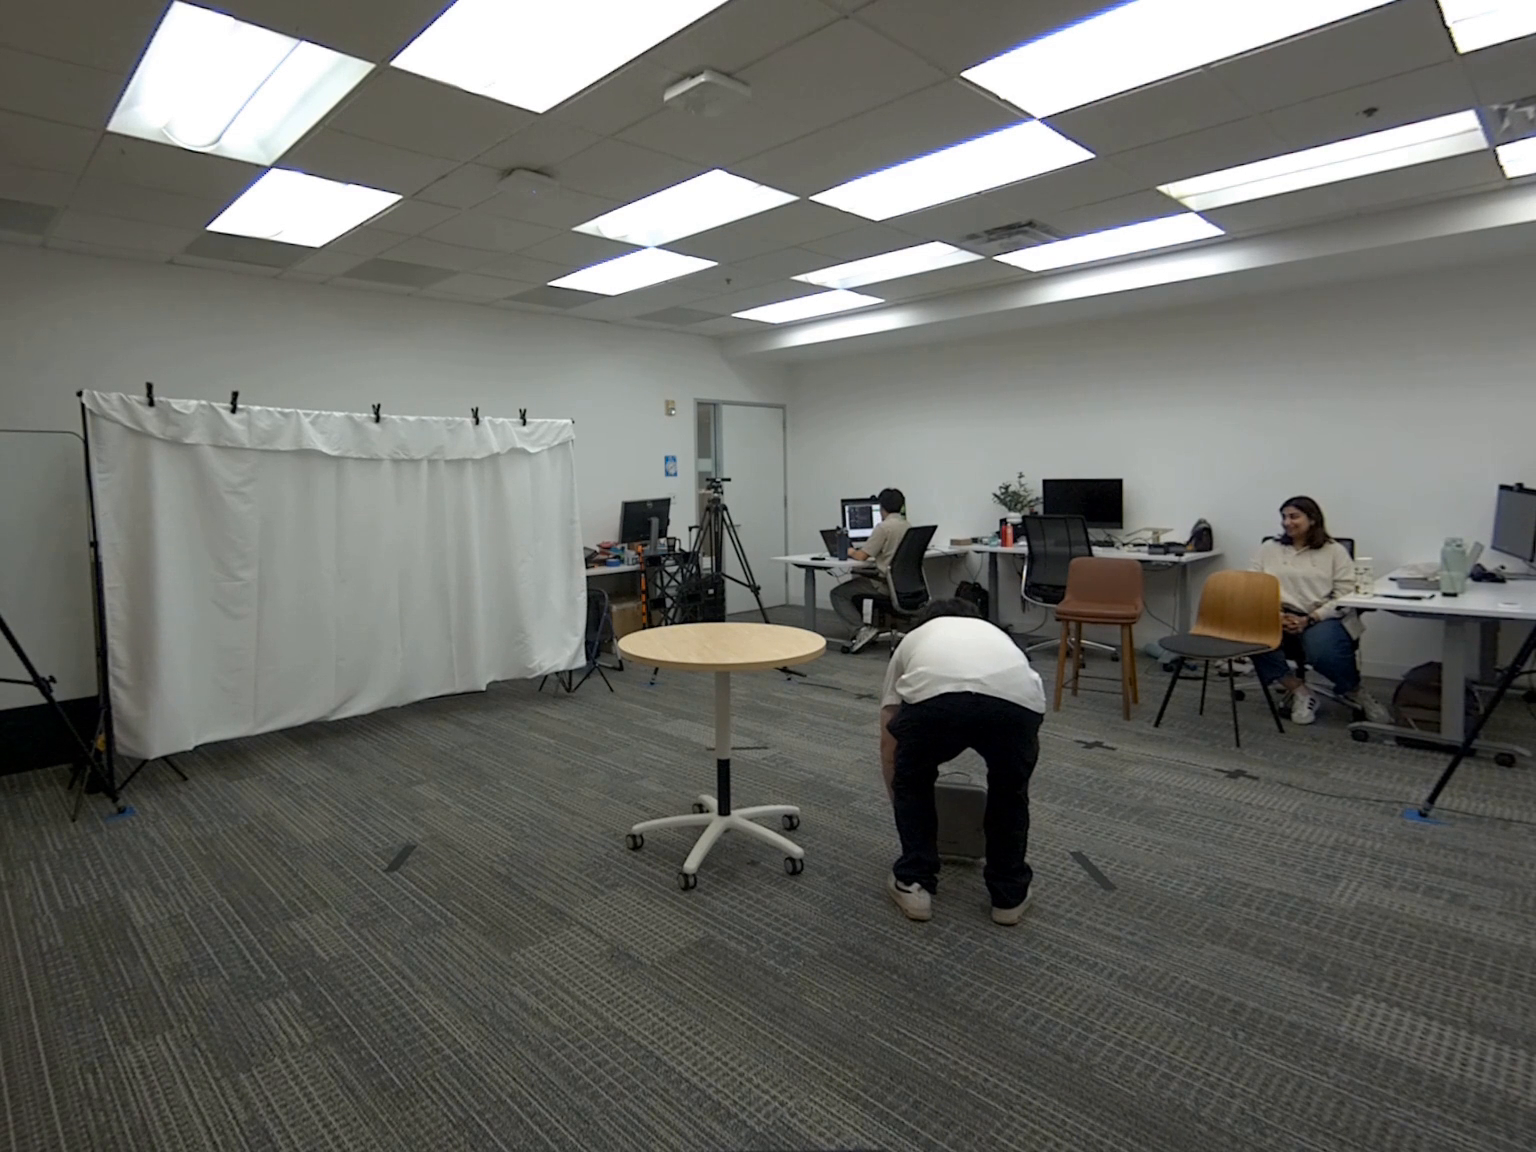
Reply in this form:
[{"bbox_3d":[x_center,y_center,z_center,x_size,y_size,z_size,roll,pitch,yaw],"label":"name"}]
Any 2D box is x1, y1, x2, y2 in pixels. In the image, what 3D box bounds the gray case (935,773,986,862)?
[{"bbox_3d":[0.678,0.872,3.124,0.261,0.261,0.102,2,-1,15],"label":"gray case"}]
